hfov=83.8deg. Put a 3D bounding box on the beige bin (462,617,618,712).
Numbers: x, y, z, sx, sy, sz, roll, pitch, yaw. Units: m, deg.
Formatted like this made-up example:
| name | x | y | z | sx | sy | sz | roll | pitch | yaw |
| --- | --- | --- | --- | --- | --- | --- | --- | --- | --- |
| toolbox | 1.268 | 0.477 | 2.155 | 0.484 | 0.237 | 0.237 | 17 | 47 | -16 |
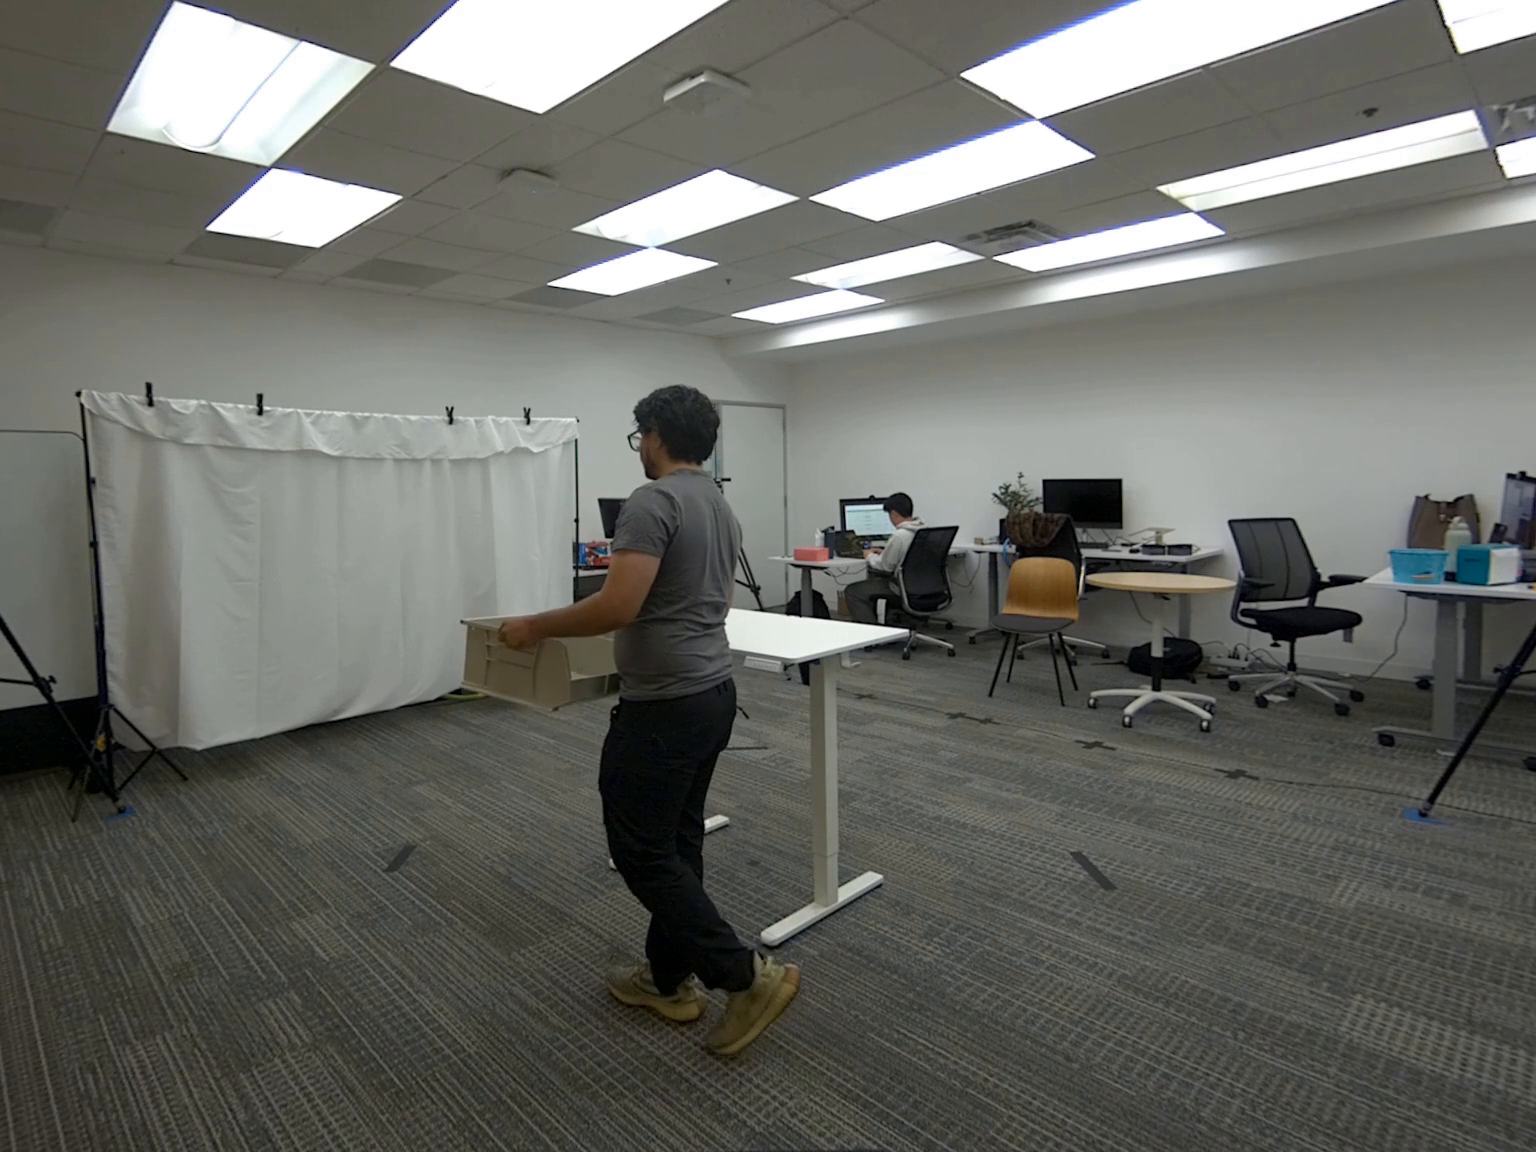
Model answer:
| name | x | y | z | sx | sy | sz | roll | pitch | yaw |
| --- | --- | --- | --- | --- | --- | --- | --- | --- | --- |
| beige bin | -0.542 | 0.215 | 2.328 | 0.387 | 0.188 | 0.413 | 5 | 5 | 27 |
